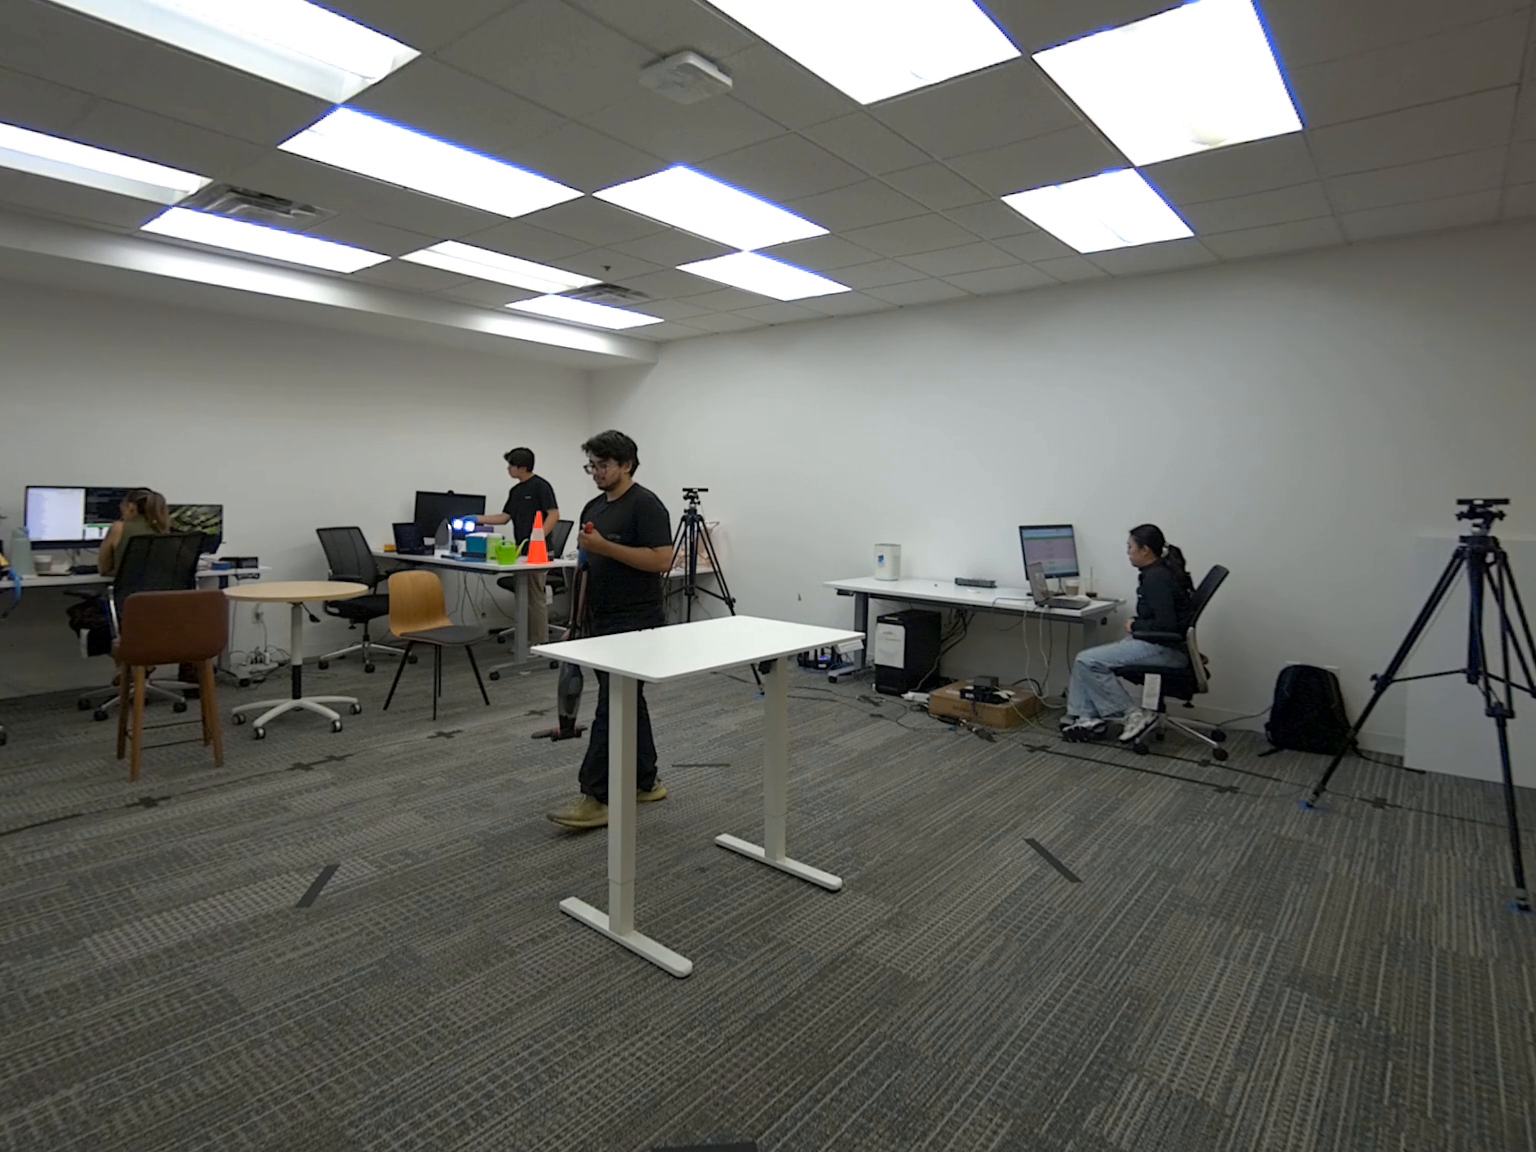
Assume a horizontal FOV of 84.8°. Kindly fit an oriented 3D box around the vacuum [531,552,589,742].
[{"bbox_3d":[-0.853,0.262,3.604,0.246,1.032,0.150,-7,30,-34],"label":"vacuum"}]
